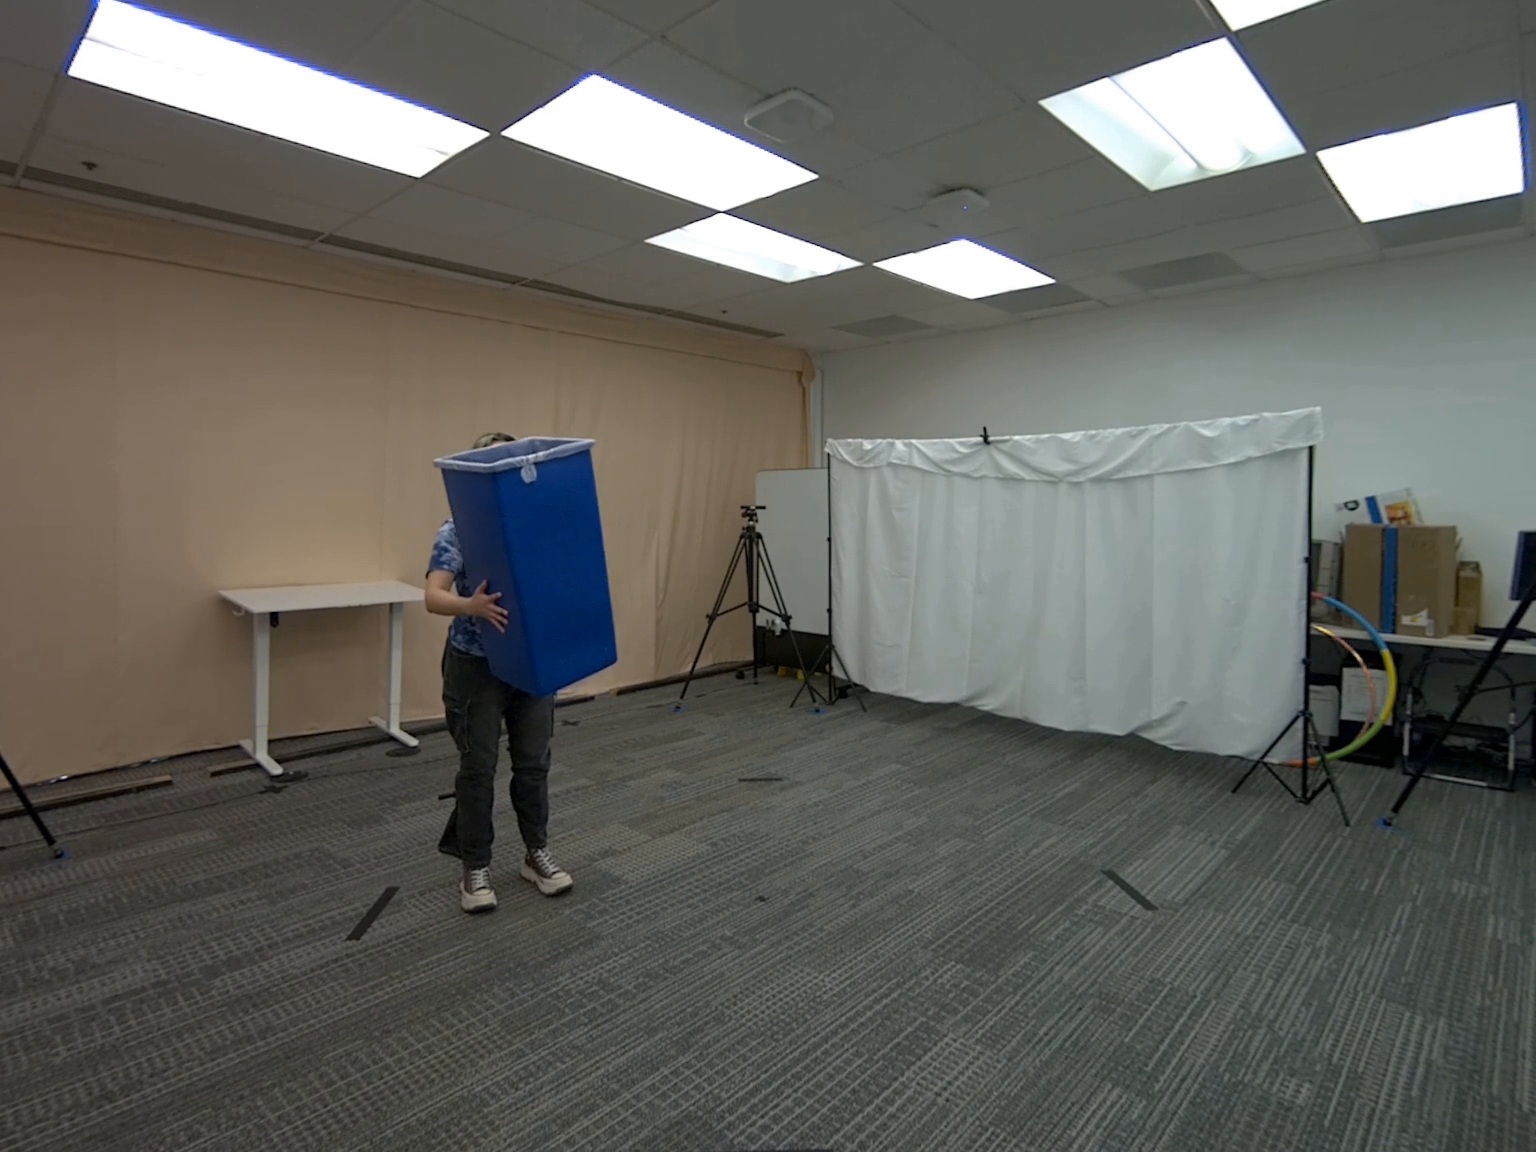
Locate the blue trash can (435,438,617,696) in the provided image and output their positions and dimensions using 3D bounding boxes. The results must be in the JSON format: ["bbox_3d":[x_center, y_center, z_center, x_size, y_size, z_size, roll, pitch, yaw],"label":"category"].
[{"bbox_3d":[-0.728,-0.041,2.595,0.387,0.705,0.369,10,23,43],"label":"blue trash can"}]
